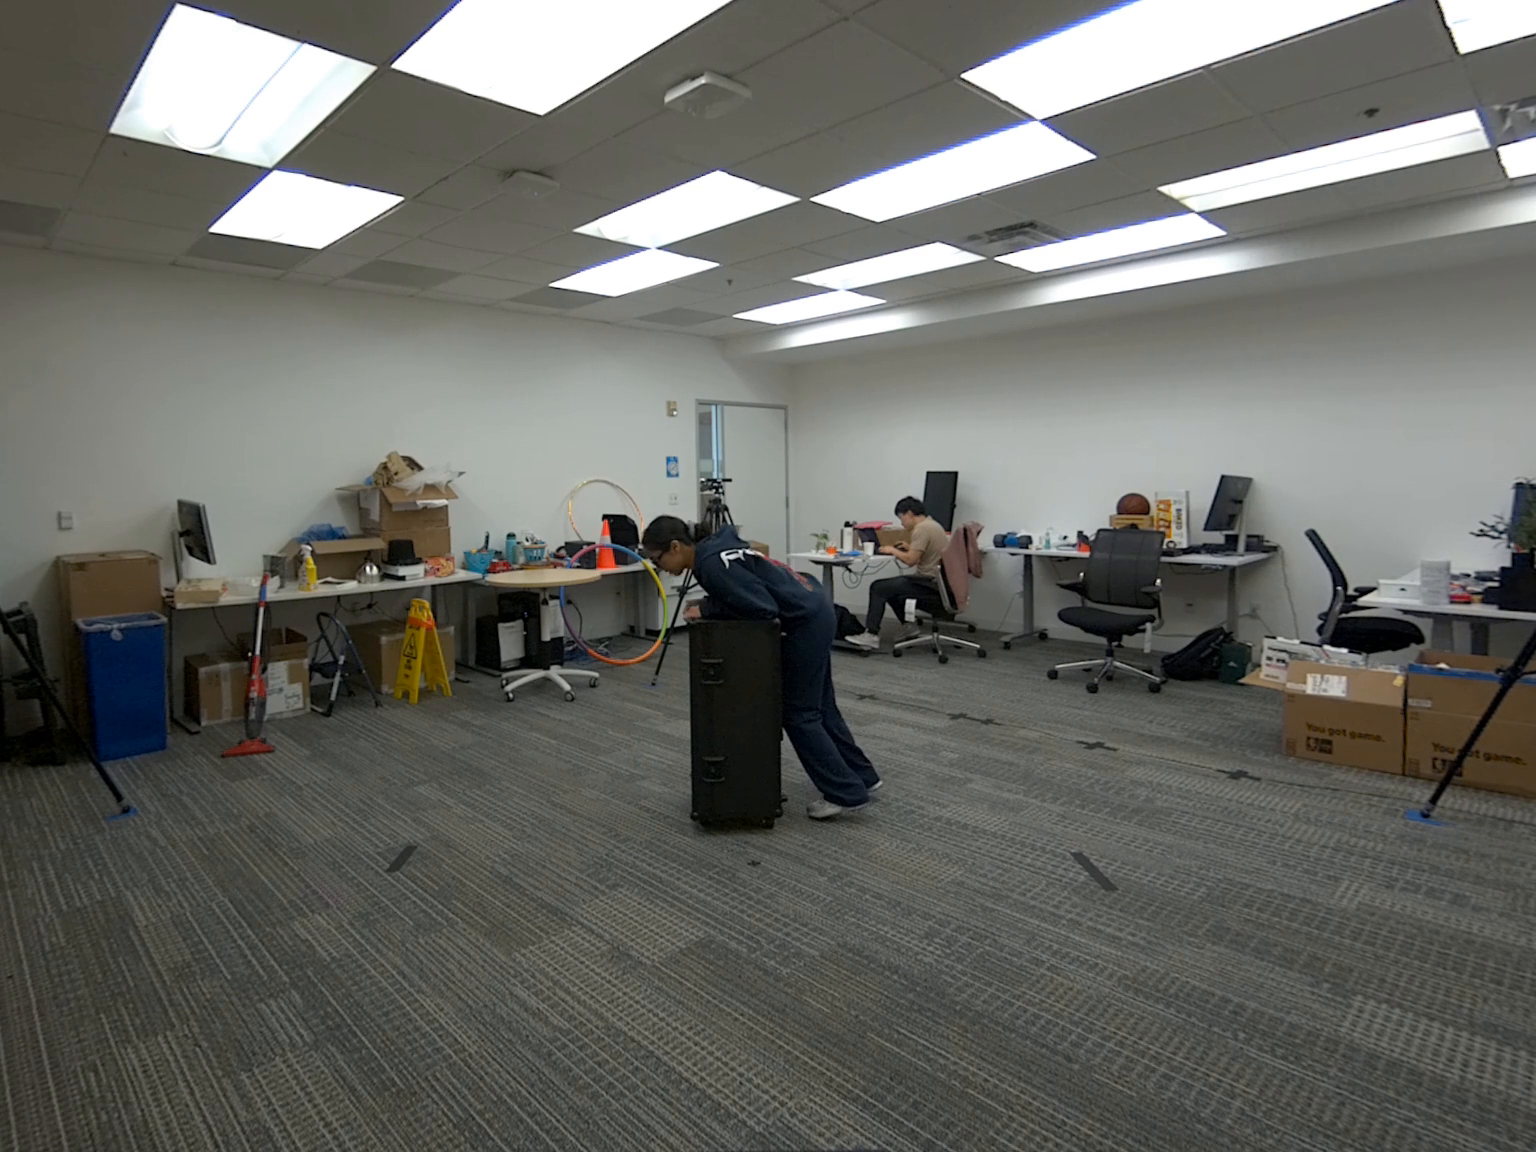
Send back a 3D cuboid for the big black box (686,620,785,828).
[{"bbox_3d":[-0.138,0.577,3.558,0.395,0.860,0.523,0,3,-3],"label":"big black box"}]
